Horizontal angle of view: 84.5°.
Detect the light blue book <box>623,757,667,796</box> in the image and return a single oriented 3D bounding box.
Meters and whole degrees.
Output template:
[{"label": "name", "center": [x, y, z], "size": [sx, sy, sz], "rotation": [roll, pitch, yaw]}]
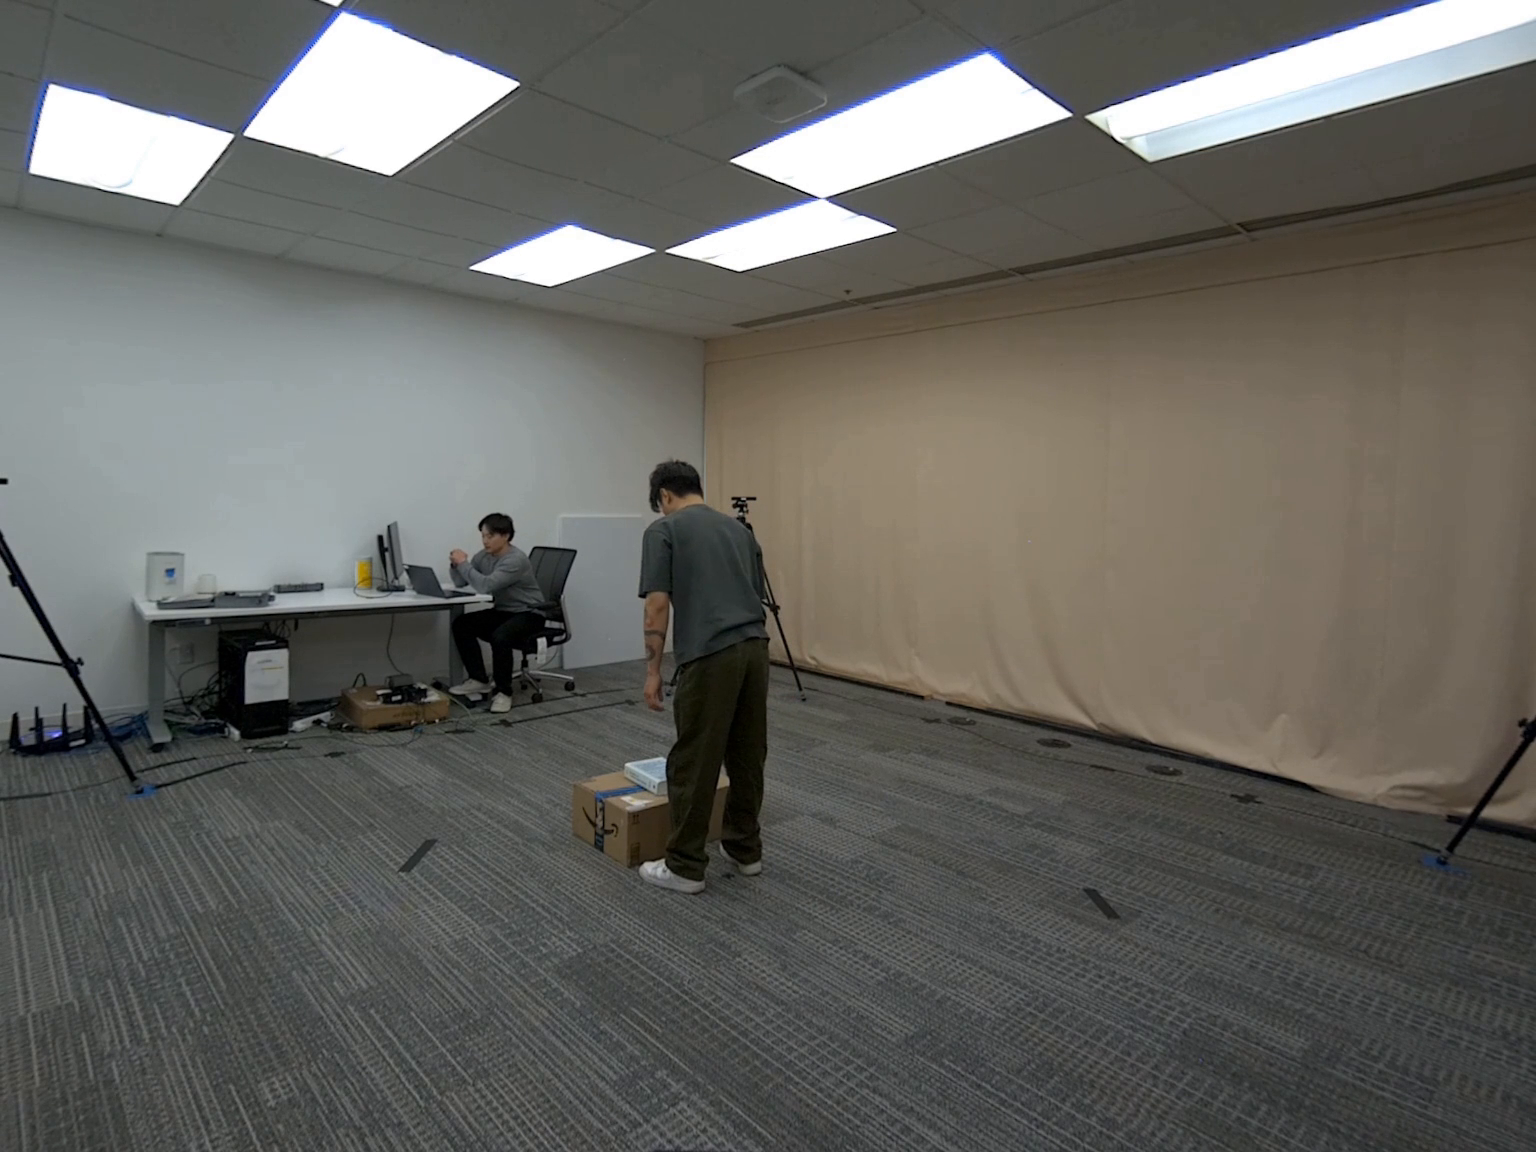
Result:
[{"label": "light blue book", "center": [-0.459, 0.828, 3.498], "size": [0.187, 0.059, 0.268], "rotation": [-1, 6, -39]}]
